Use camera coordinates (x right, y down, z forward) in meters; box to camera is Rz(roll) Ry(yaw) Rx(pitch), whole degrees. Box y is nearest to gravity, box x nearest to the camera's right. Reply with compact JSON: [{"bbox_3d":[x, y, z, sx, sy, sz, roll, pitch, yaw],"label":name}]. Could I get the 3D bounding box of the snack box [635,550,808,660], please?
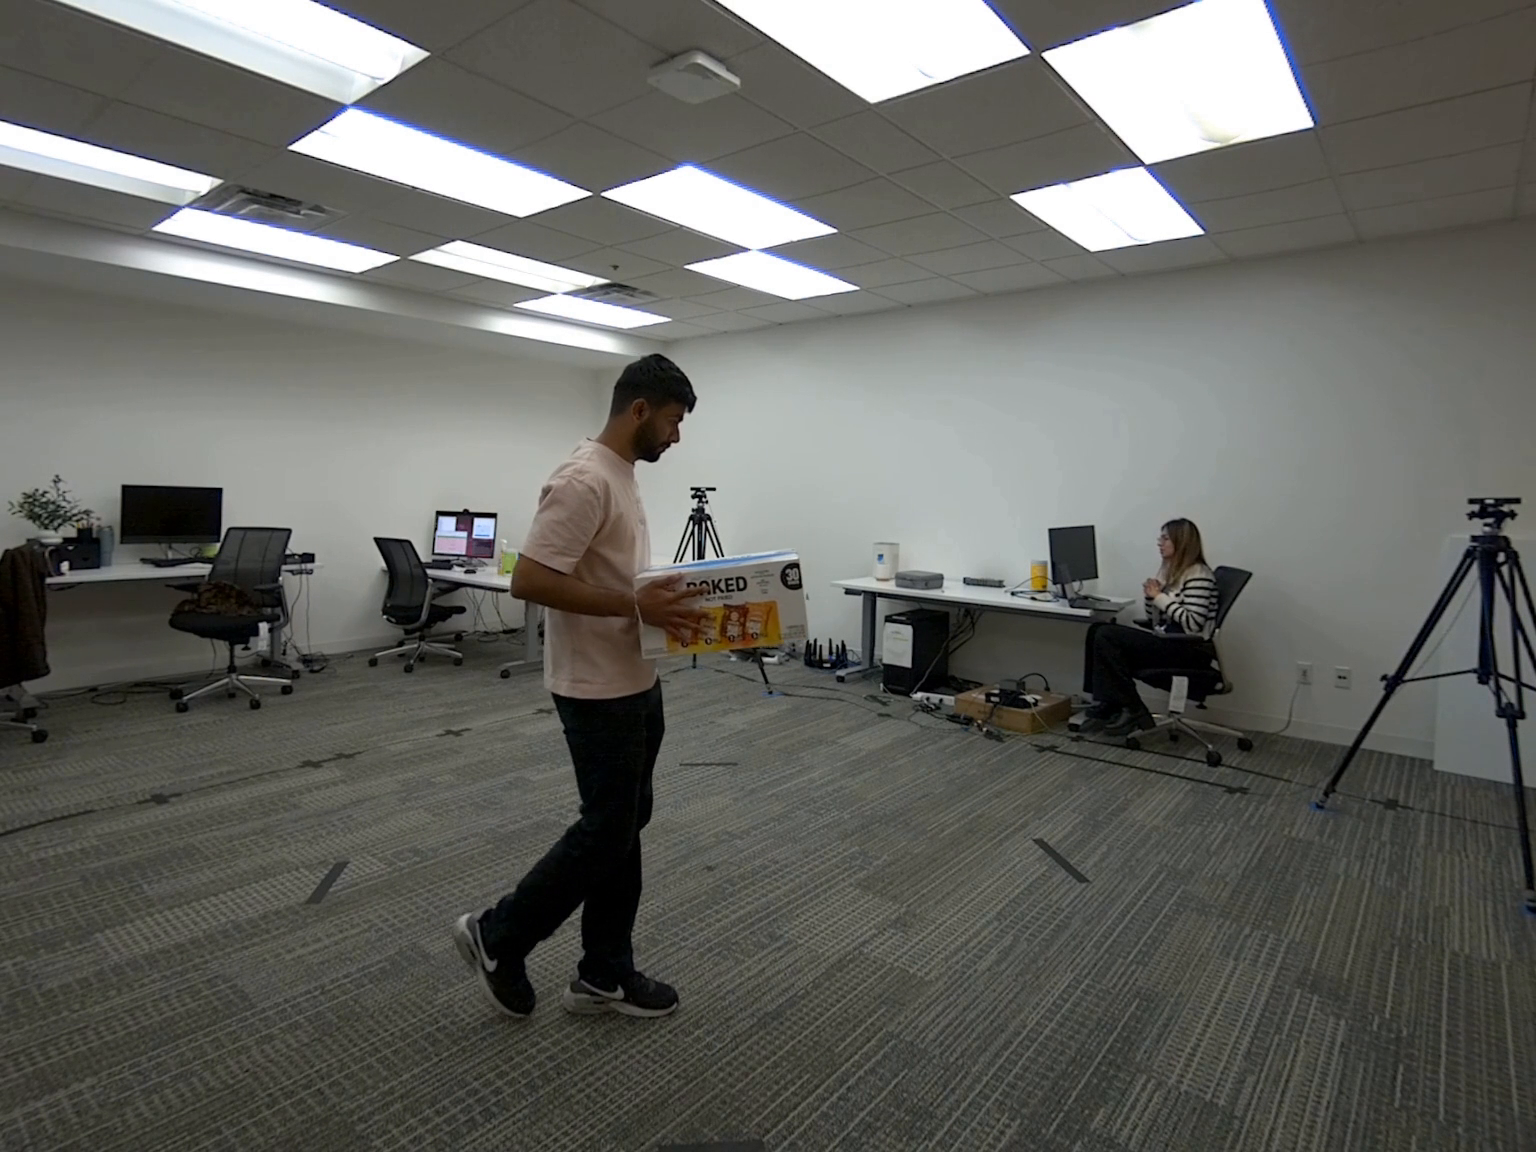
[{"bbox_3d":[-0.122,0.061,2.196,0.406,0.205,0.341,-6,5,3],"label":"snack box"}]
